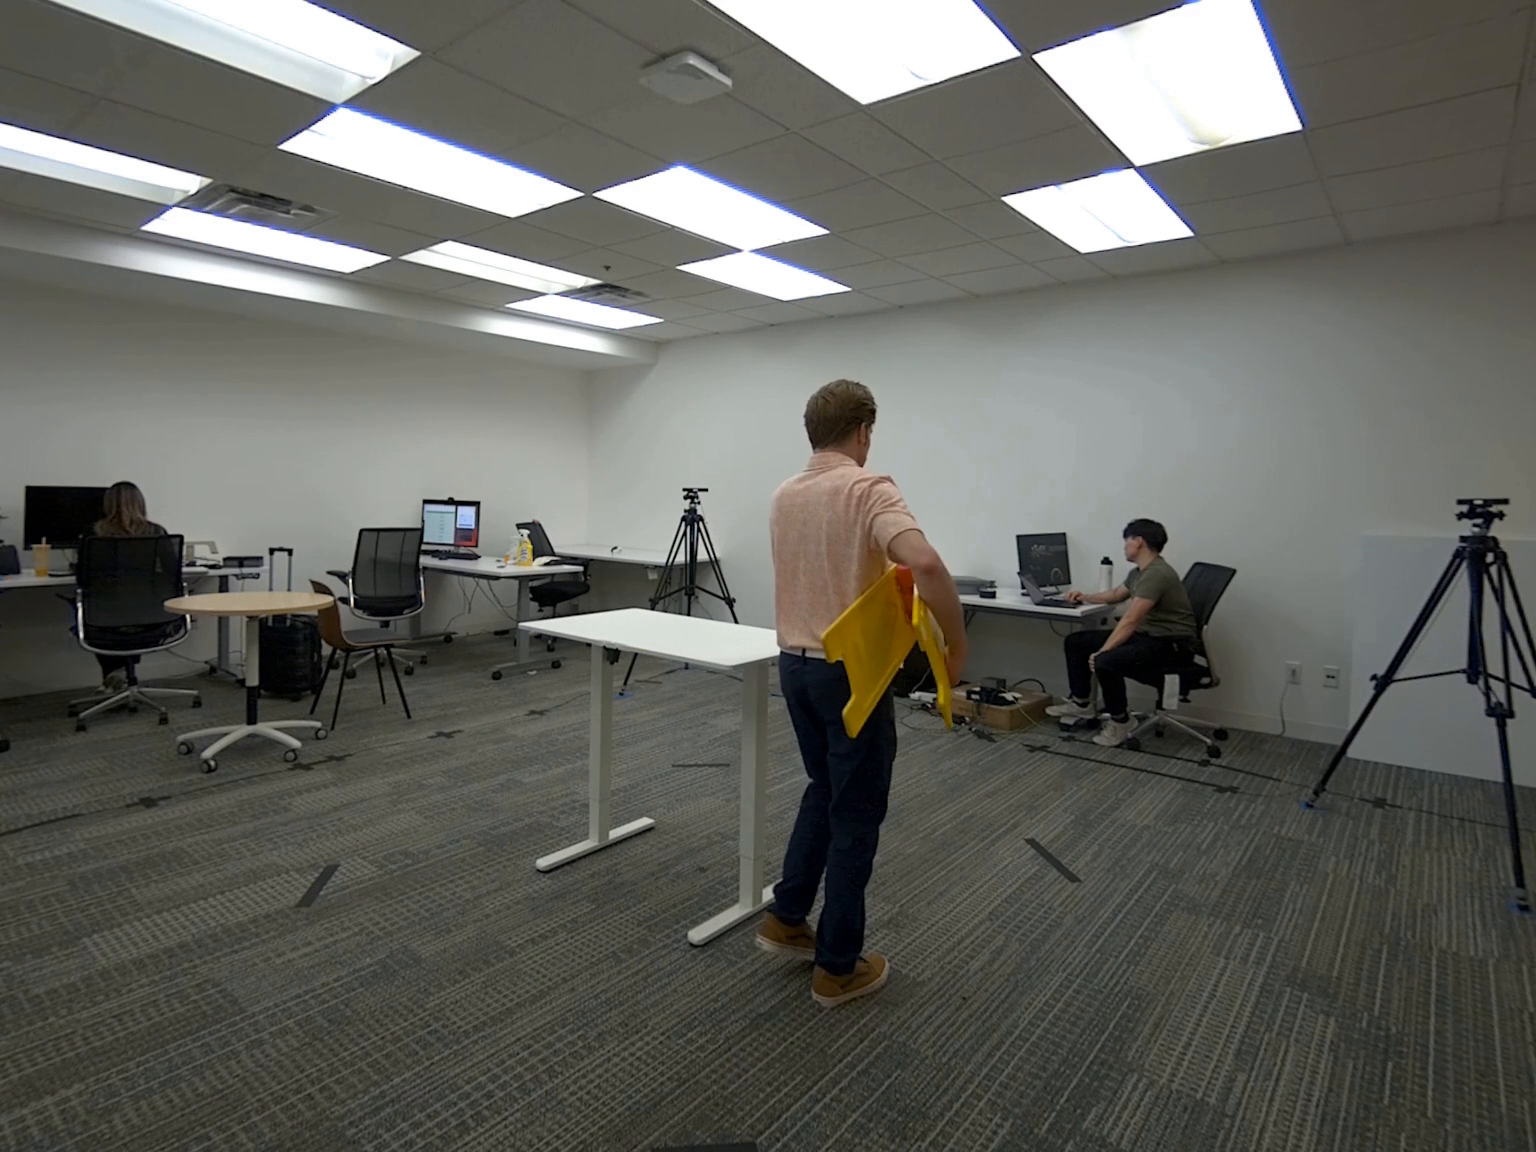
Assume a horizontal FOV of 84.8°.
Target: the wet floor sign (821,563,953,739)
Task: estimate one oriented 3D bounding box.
[{"bbox_3d":[0.369,0.127,2.243,0.295,0.277,0.646,-12,19,24],"label":"wet floor sign"}]
